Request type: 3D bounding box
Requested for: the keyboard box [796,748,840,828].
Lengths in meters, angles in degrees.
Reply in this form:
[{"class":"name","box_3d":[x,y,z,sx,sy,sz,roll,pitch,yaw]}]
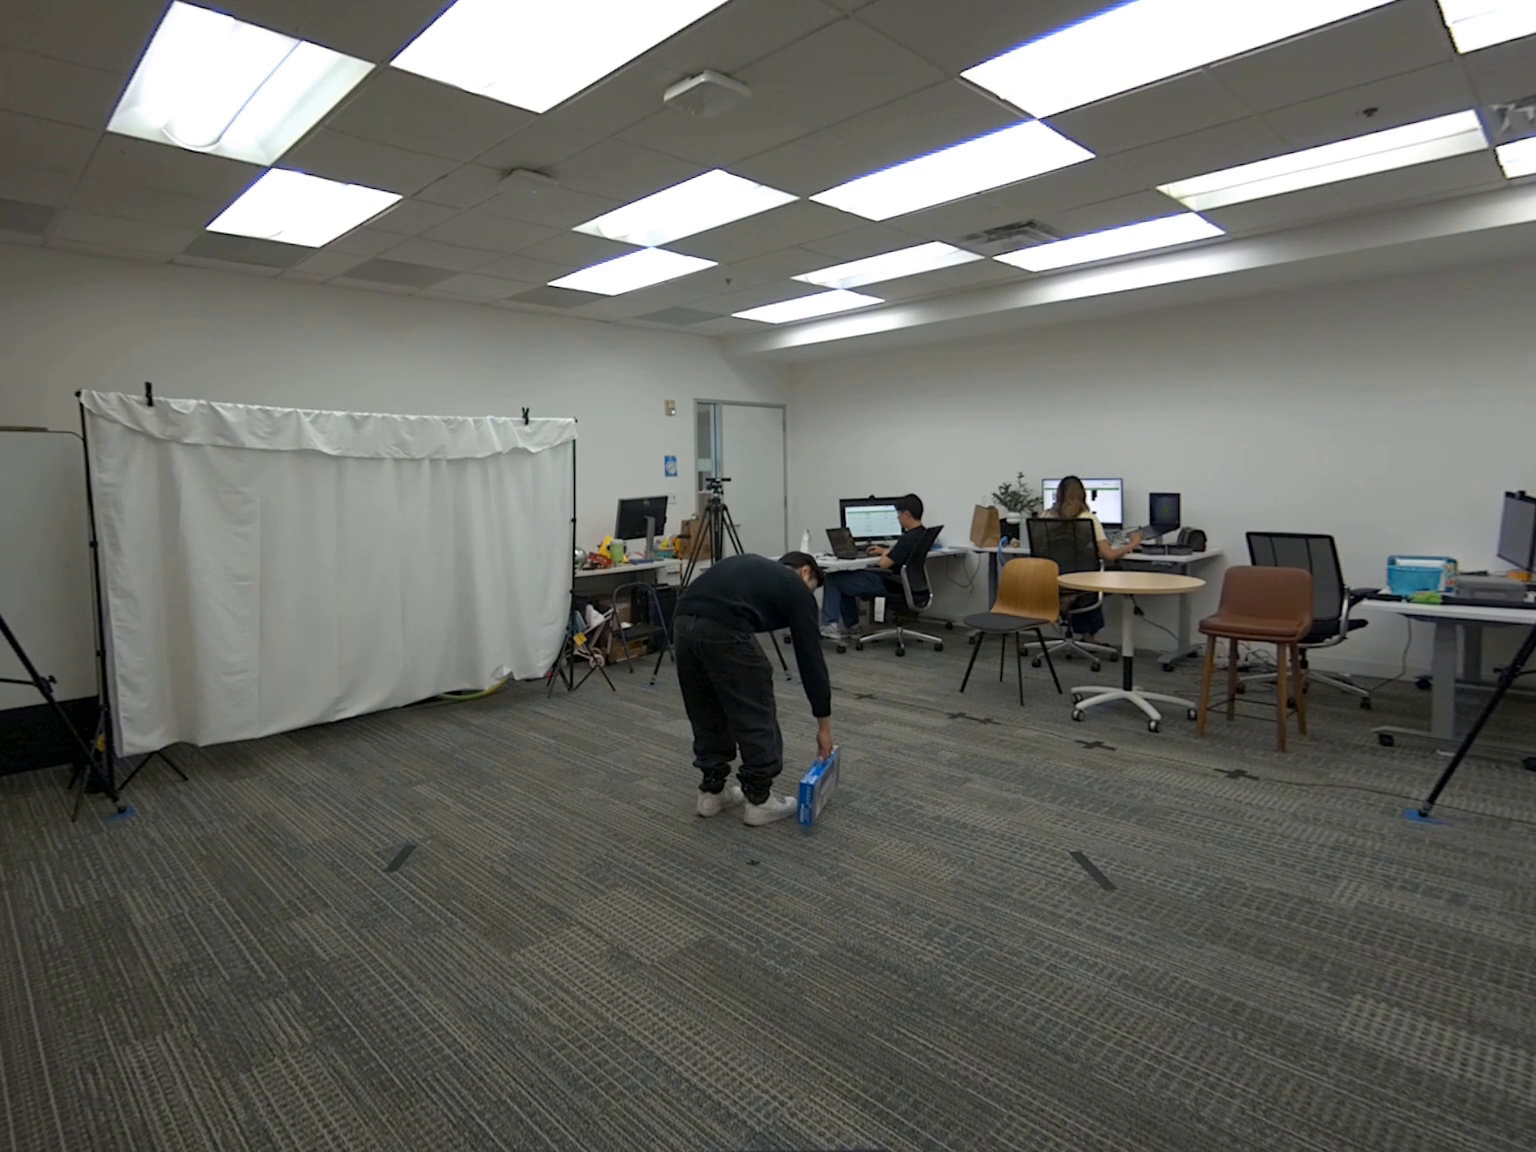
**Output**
[{"class":"keyboard box","box_3d":[0.217,0.844,3.493,0.060,0.174,0.431,5,10,19]}]
